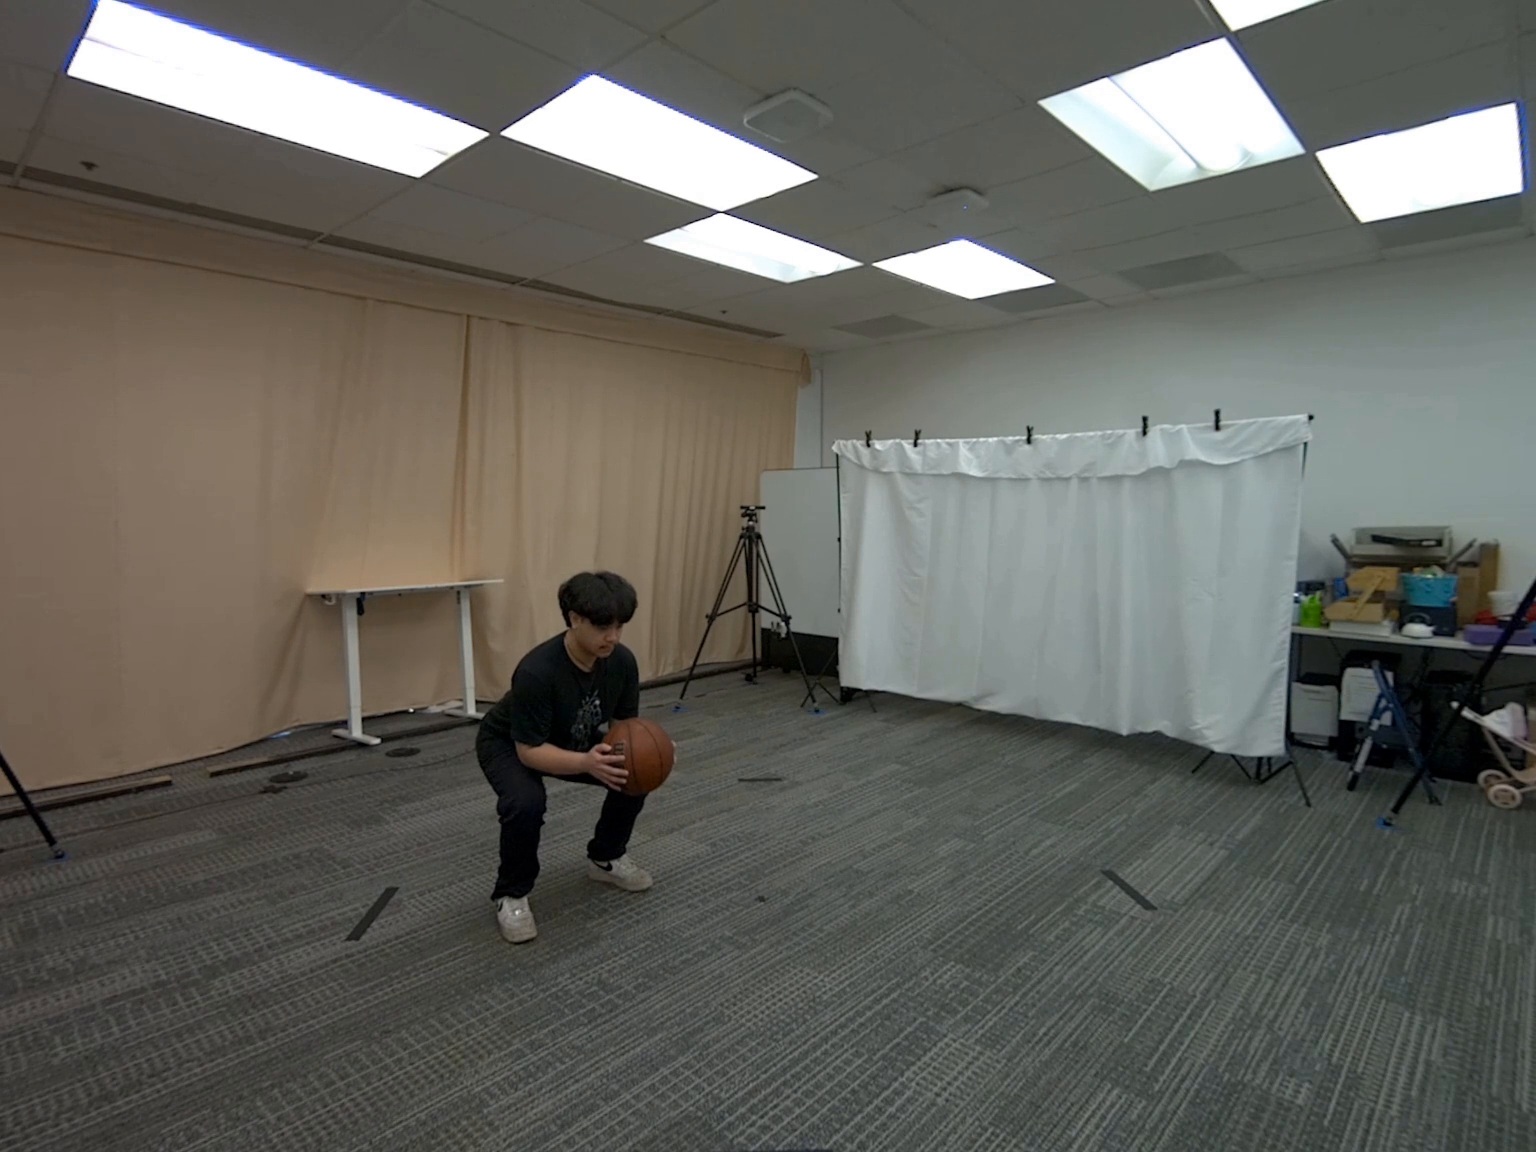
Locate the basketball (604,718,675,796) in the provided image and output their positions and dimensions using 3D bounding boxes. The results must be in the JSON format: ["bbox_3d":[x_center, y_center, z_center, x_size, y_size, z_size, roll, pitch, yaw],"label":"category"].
[{"bbox_3d":[-0.414,0.571,2.660,0.236,0.235,0.237,0,4,-2],"label":"basketball"}]
